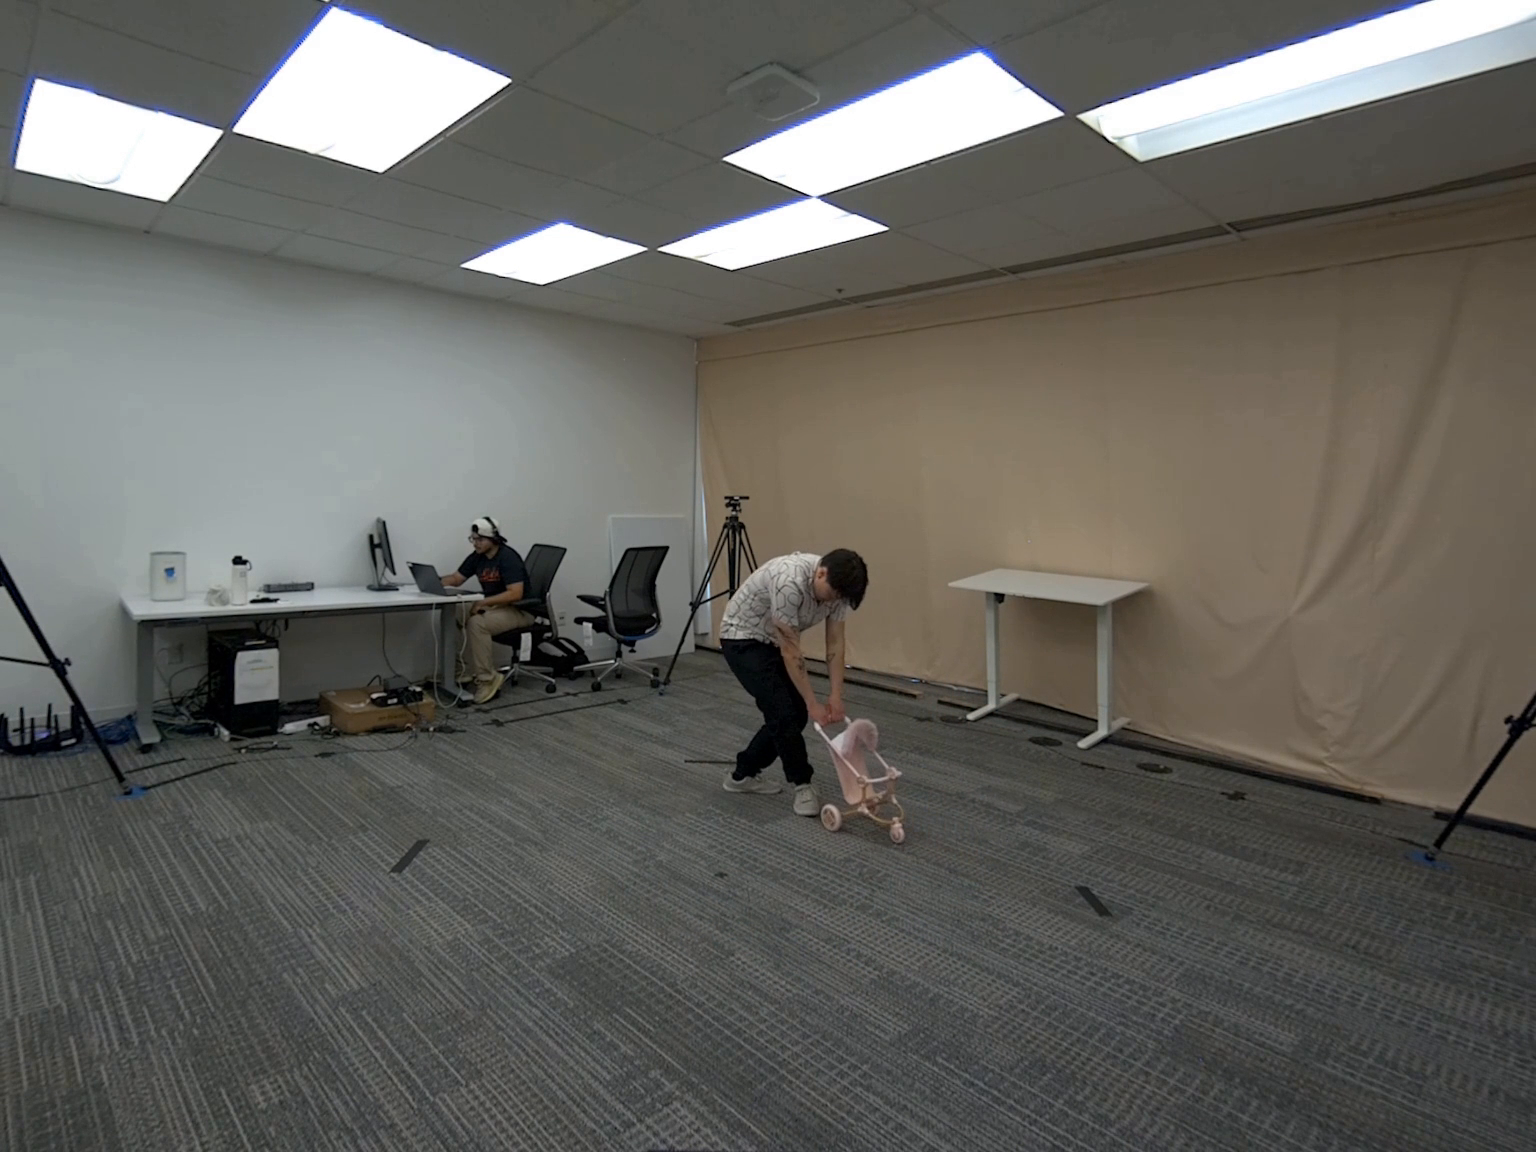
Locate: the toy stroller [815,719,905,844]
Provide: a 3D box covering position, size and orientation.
[{"bbox_3d":[0.392,0.850,3.577,0.275,0.539,0.346,-1,-12,-37],"label":"toy stroller"}]
